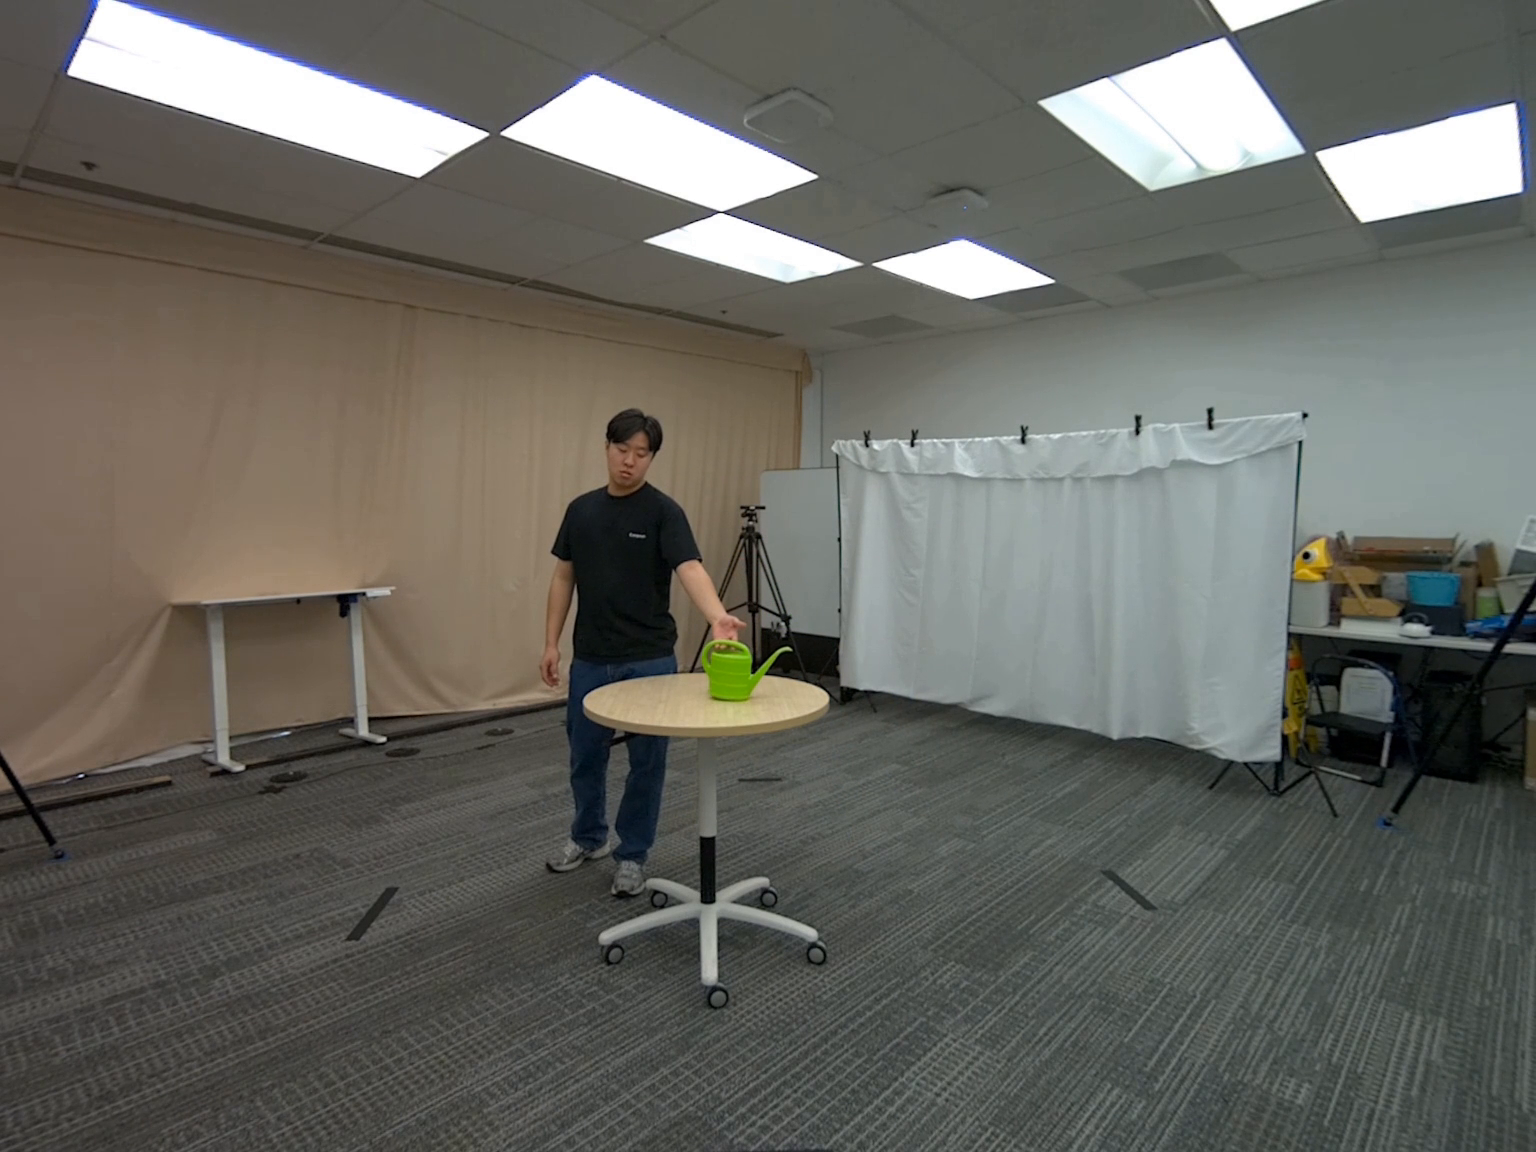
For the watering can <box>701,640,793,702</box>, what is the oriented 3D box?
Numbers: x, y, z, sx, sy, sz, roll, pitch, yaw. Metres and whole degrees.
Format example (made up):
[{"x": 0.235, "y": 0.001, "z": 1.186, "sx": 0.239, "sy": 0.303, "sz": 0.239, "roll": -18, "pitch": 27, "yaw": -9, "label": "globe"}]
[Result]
[{"x": -0.069, "y": 0.292, "z": 2.576, "sx": 0.286, "sy": 0.176, "sz": 0.096, "roll": 4, "pitch": 7, "yaw": 27, "label": "watering can"}]
